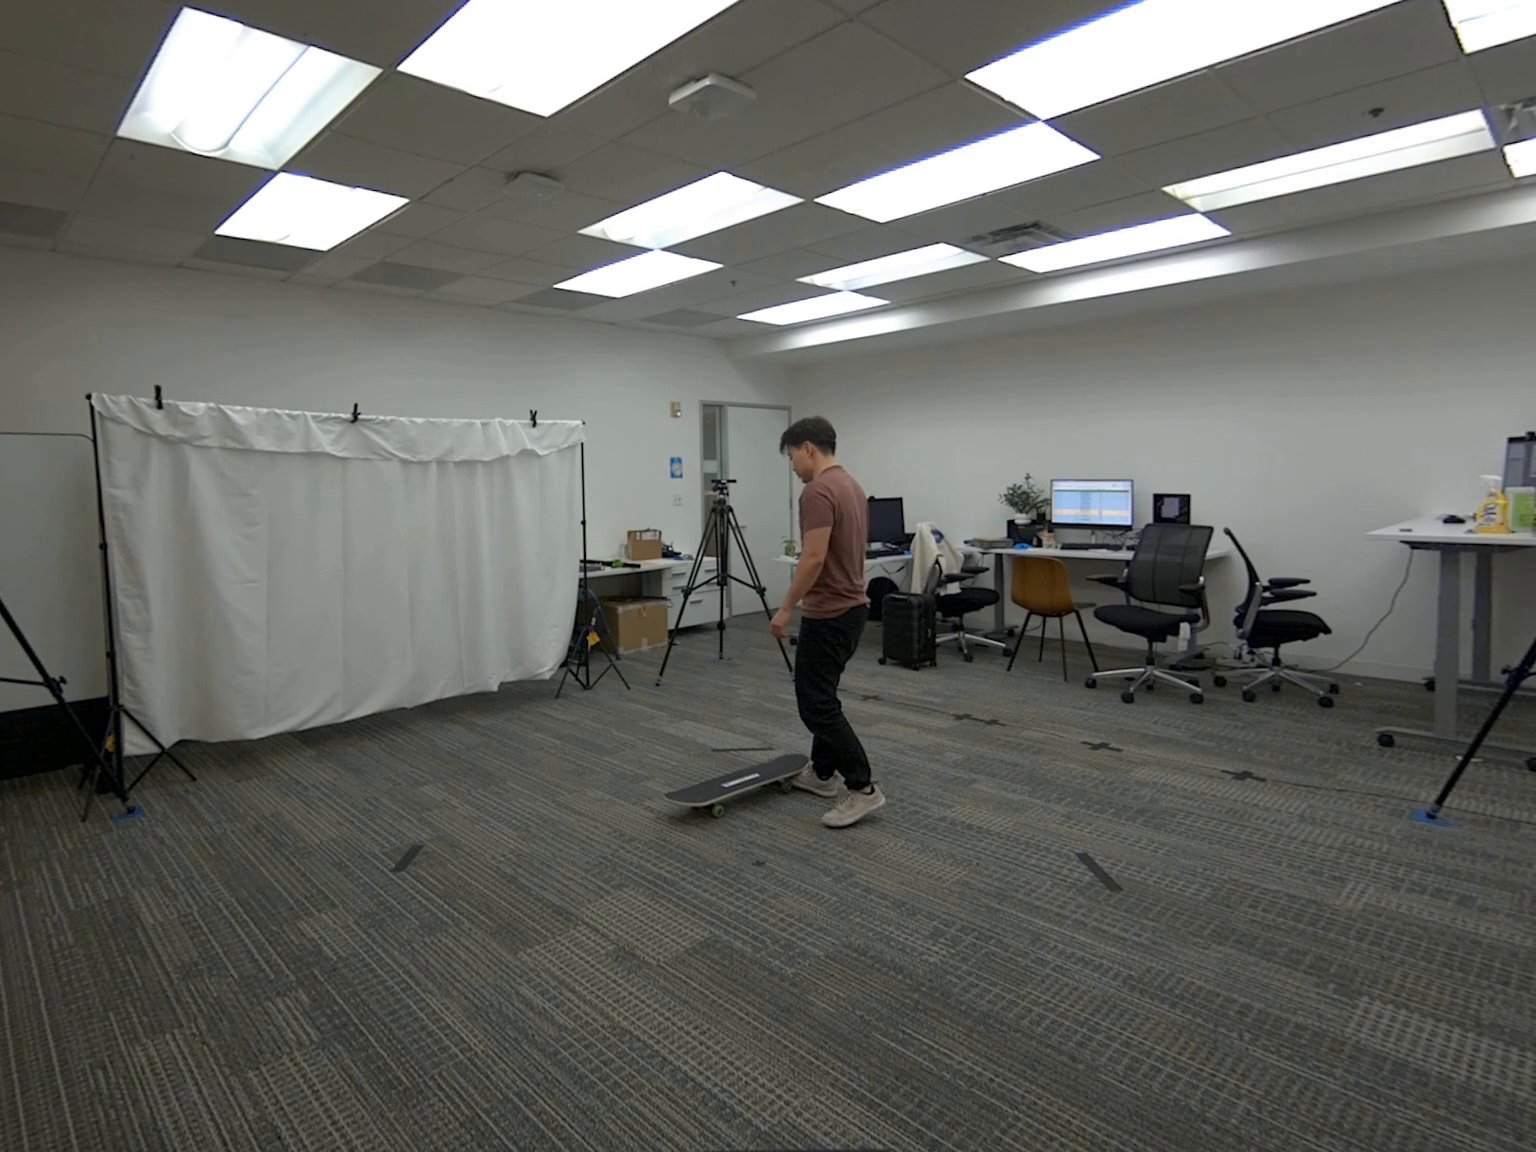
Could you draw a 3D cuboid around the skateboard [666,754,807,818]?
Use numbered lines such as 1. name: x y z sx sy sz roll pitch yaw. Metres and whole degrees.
1. skateboard: -0.118 0.920 3.733 0.765 0.110 0.199 -7 7 -42
